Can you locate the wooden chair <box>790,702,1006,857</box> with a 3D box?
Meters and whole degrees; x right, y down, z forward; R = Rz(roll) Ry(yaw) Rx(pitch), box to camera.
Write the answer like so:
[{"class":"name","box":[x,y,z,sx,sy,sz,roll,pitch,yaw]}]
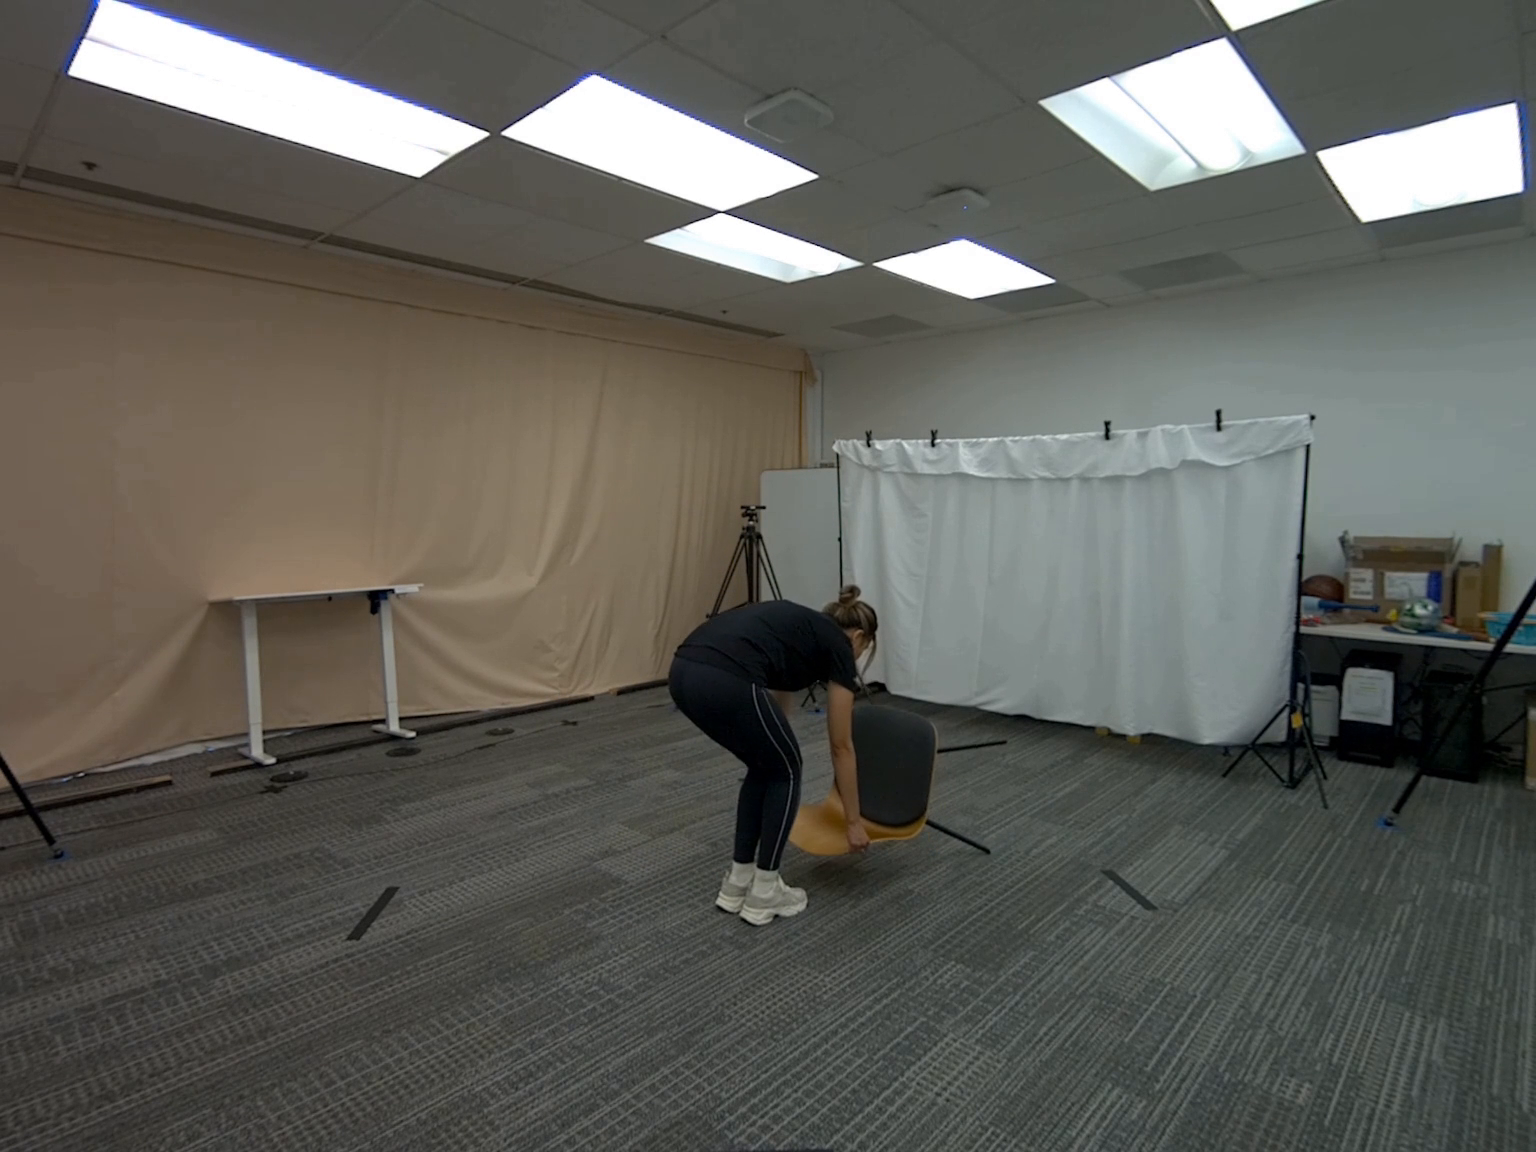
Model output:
[{"class":"wooden chair","box":[0.471,0.781,3.303,0.848,0.524,0.494,10,-3,-40]}]
